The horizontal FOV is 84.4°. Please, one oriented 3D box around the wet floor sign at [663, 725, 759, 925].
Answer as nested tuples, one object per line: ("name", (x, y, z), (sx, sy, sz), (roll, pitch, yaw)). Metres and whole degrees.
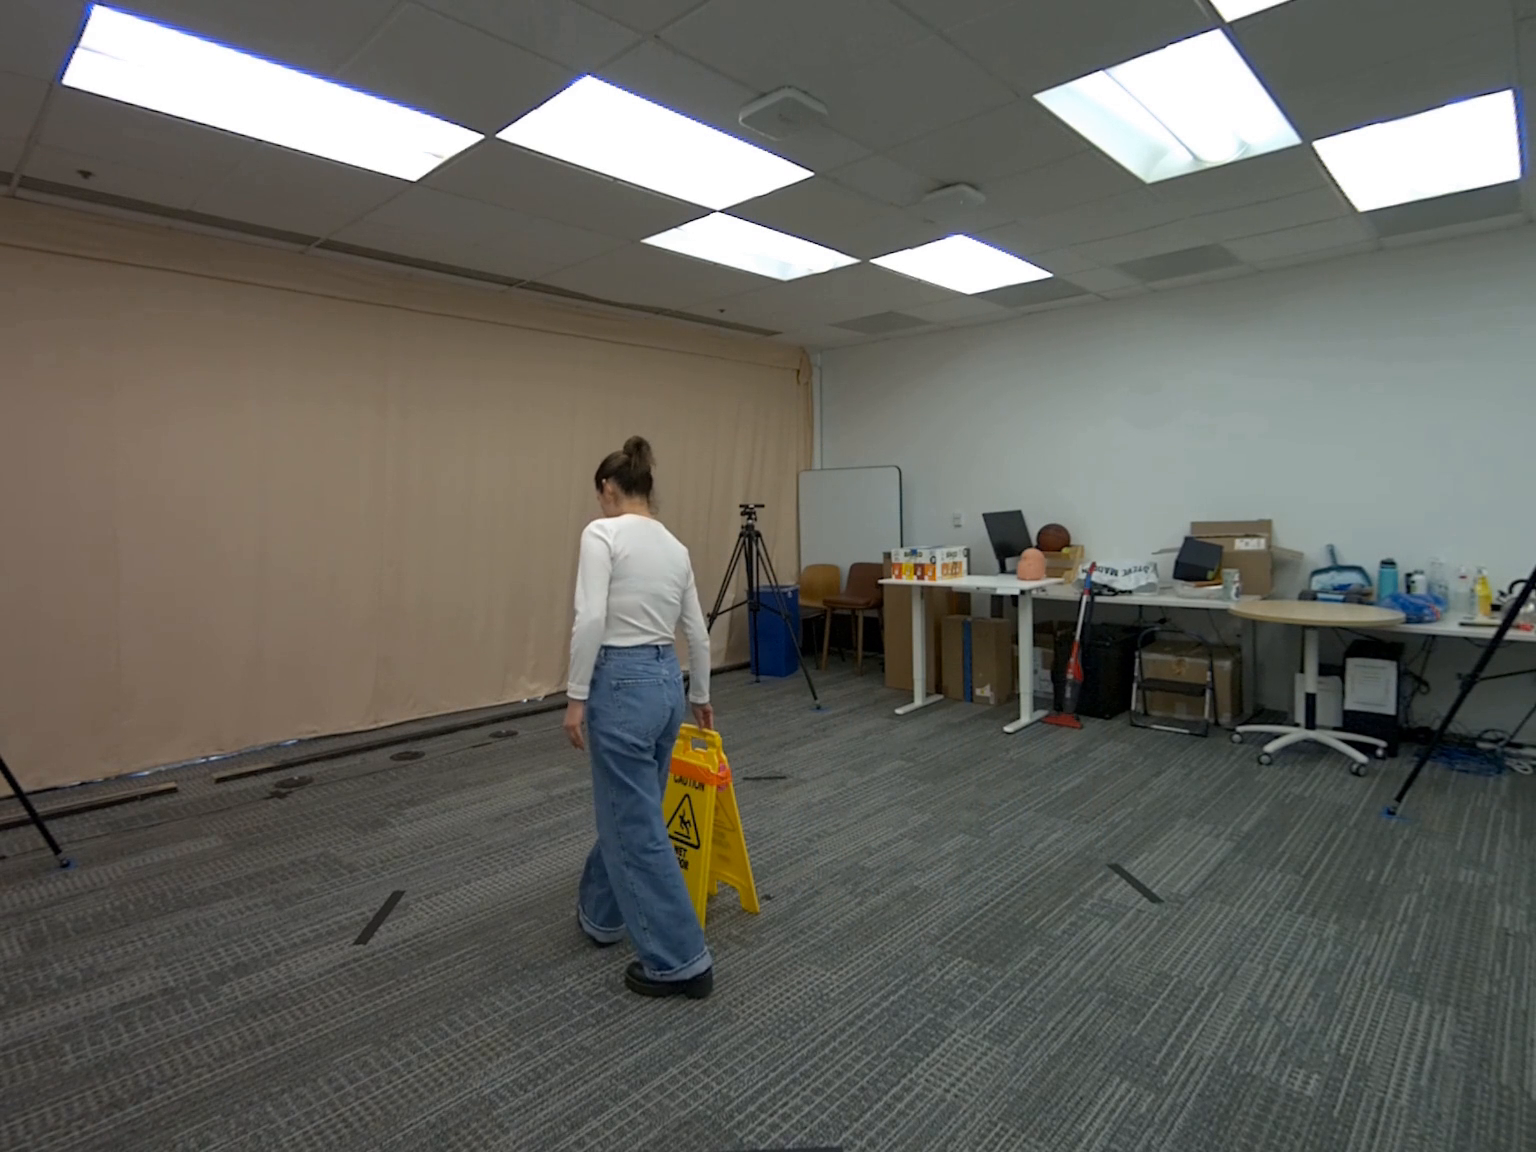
("wet floor sign", (-0.229, 0.831, 2.846), (0.291, 0.645, 0.281), (1, 4, 43))
